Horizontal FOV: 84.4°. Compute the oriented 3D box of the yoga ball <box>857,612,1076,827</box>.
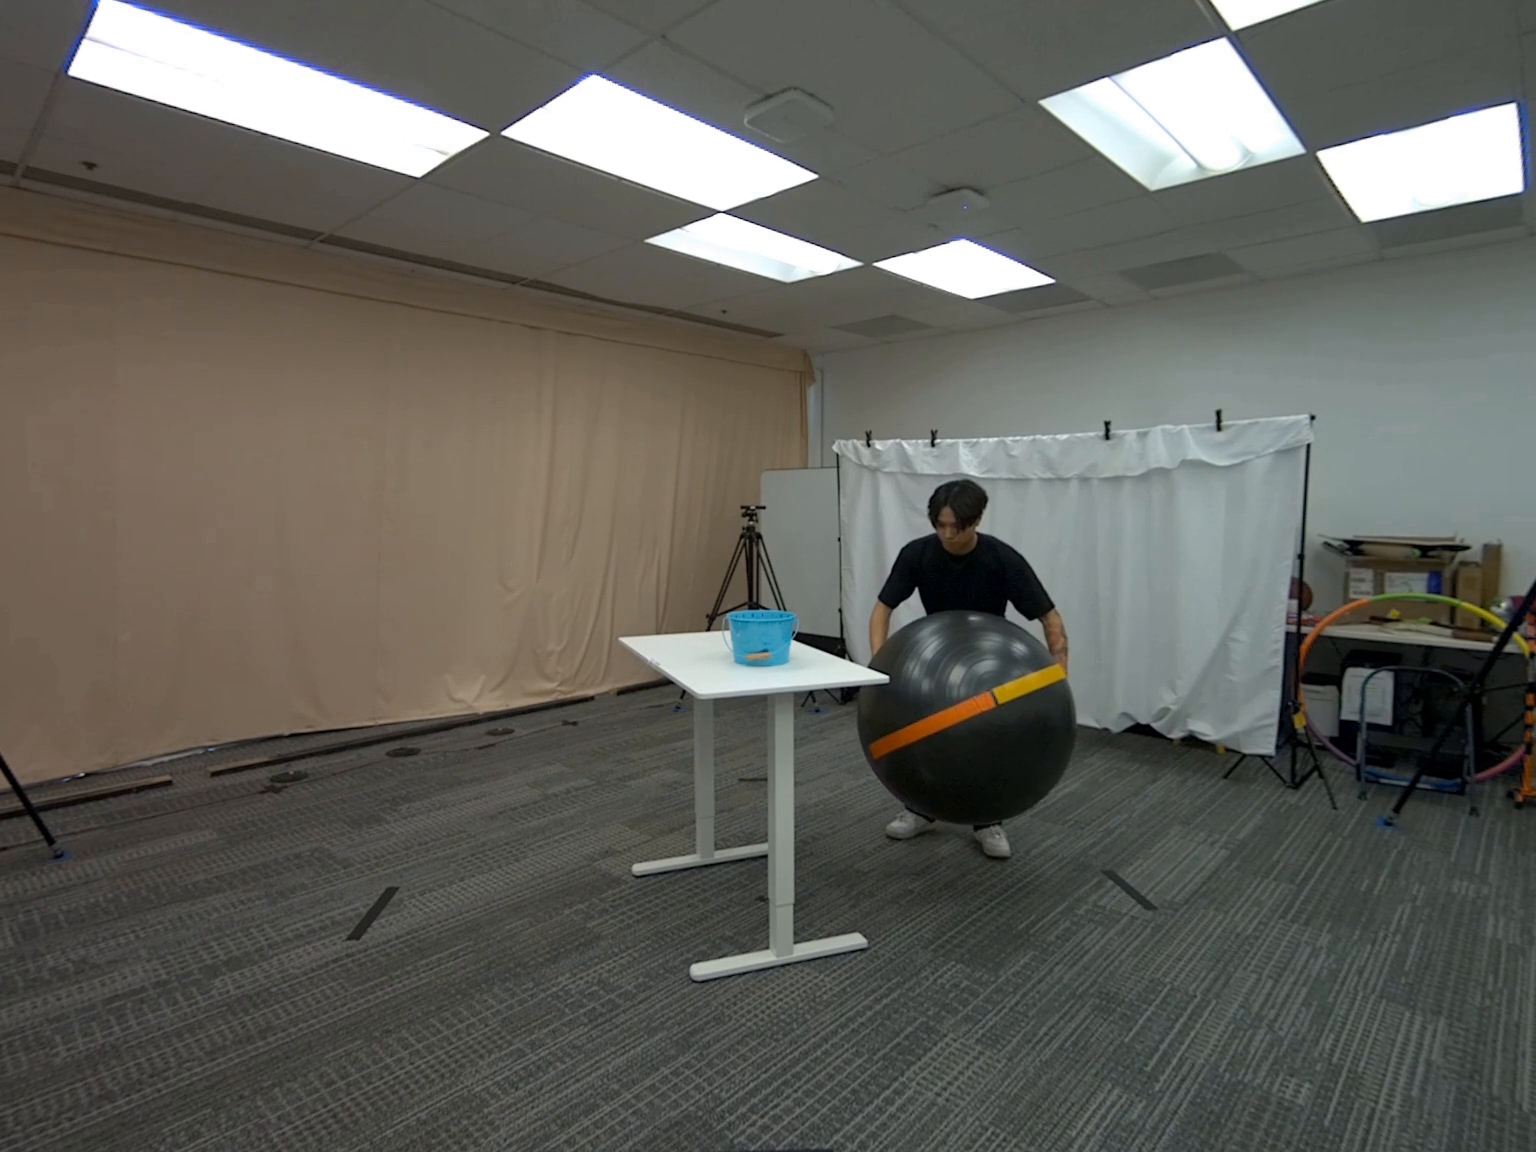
[{"bbox_3d":[0.713,0.508,3.047,0.757,0.756,0.760,0,4,-2],"label":"yoga ball"}]
